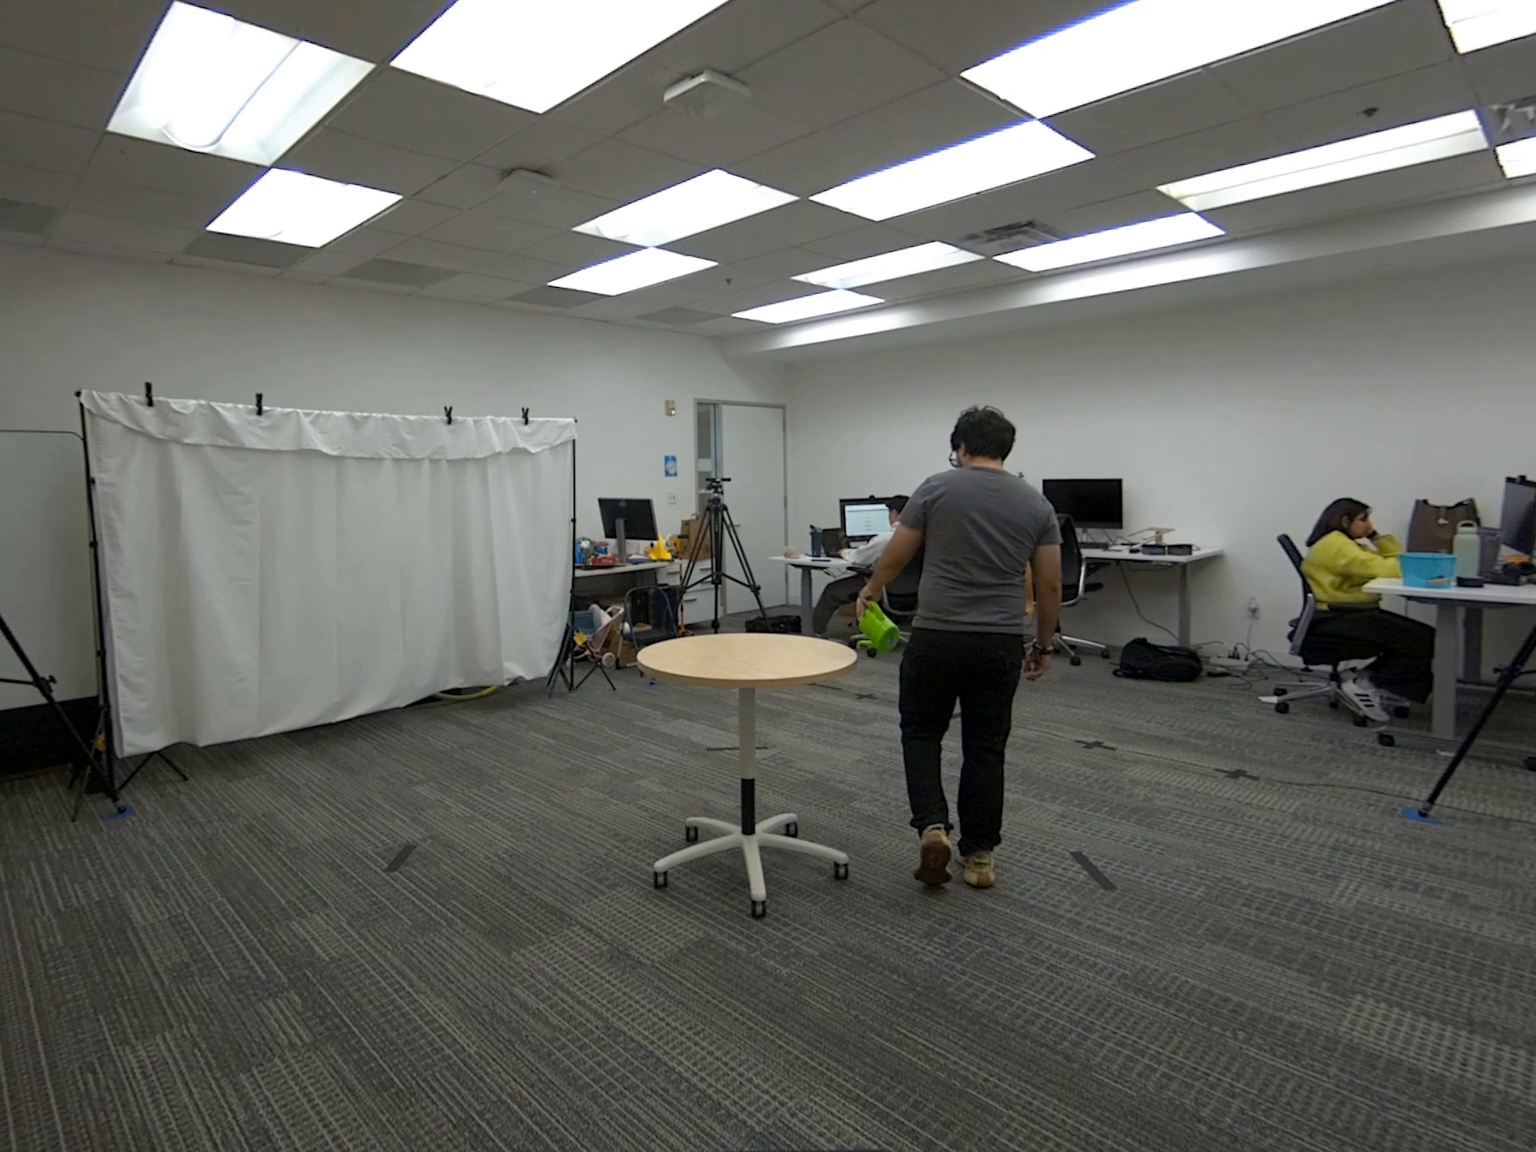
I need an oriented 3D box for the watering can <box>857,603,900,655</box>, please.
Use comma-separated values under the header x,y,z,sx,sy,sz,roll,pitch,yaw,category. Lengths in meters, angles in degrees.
x,y,z,sx,sy,sz,roll,pitch,yaw,category
0.415,0.222,3.279,0.097,0.269,0.184,-26,45,-13,watering can
